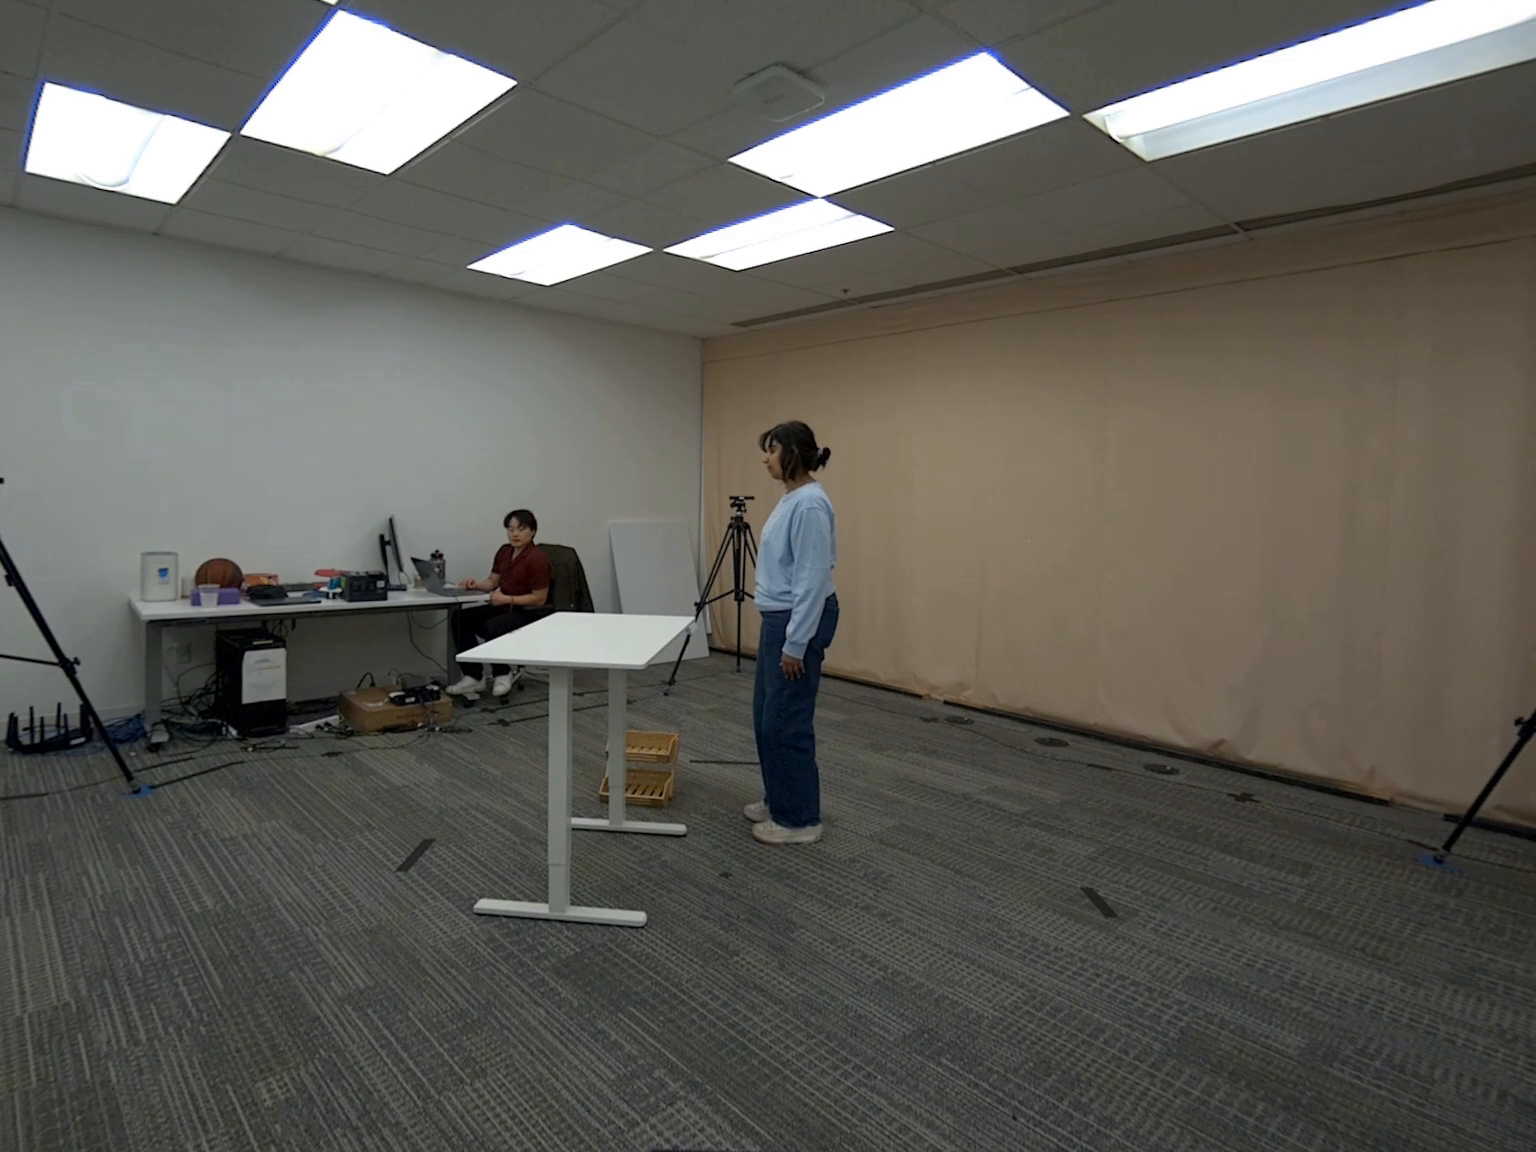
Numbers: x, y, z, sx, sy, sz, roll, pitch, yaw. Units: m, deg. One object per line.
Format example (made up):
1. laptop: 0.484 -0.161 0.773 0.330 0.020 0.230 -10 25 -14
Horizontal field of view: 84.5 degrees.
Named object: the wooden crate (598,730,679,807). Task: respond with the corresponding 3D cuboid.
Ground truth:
1. wooden crate: -0.606 0.889 3.920 0.326 0.273 0.301 2 3 7
